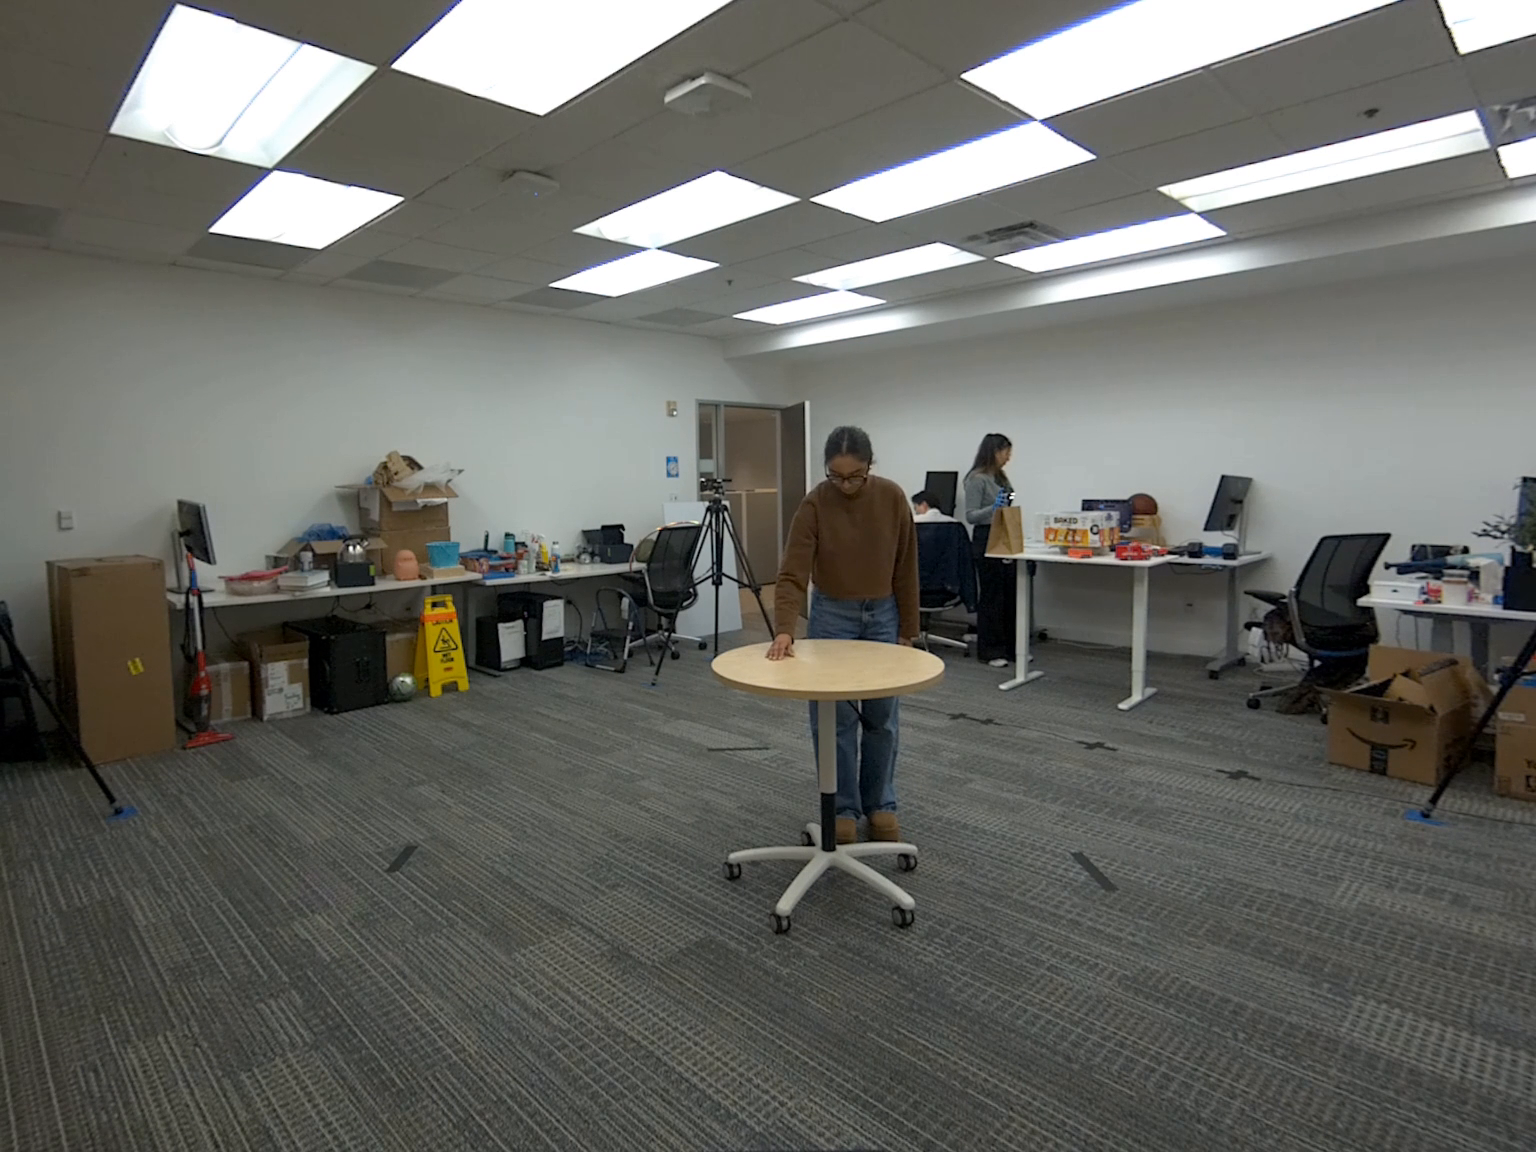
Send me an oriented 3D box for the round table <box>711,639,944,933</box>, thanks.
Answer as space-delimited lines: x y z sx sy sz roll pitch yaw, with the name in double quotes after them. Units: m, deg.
0.206 0.681 2.870 0.763 0.790 0.768 -1 5 -2 "round table"
